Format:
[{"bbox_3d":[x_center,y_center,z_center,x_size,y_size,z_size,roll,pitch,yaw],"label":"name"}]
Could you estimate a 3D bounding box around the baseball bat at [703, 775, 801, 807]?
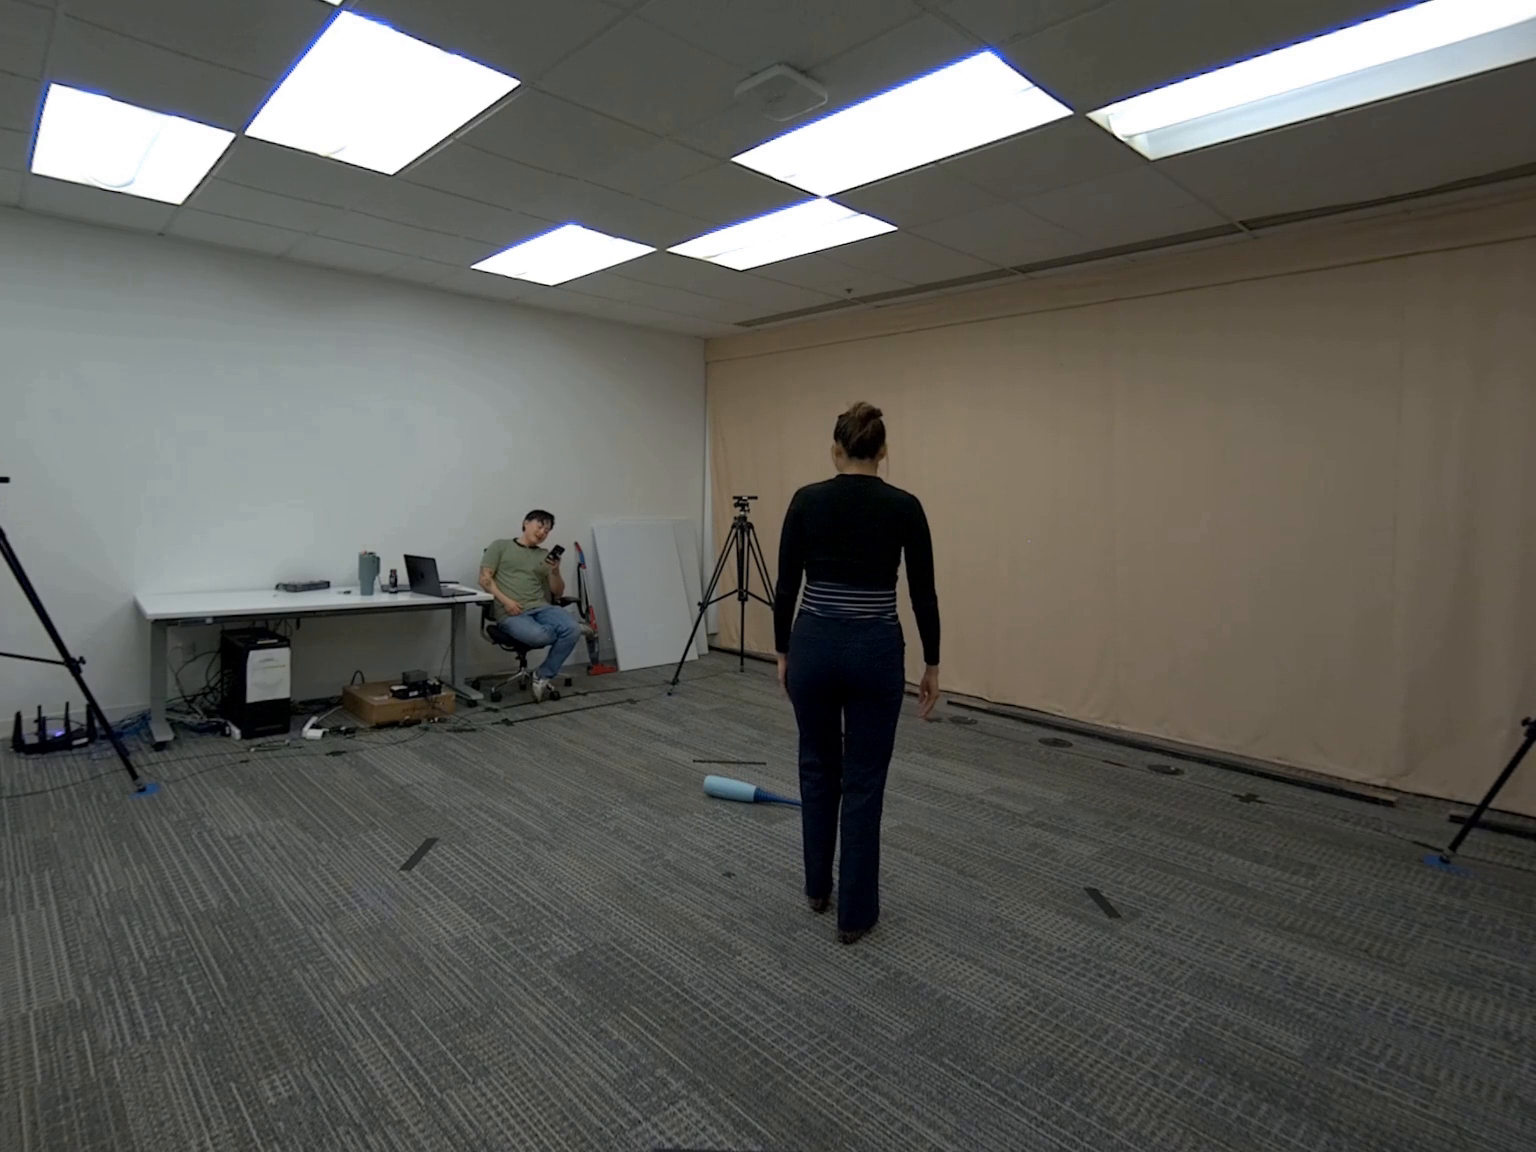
[{"bbox_3d":[-0.044,1.005,3.849,0.551,0.089,0.088,7,6,18],"label":"baseball bat"}]
